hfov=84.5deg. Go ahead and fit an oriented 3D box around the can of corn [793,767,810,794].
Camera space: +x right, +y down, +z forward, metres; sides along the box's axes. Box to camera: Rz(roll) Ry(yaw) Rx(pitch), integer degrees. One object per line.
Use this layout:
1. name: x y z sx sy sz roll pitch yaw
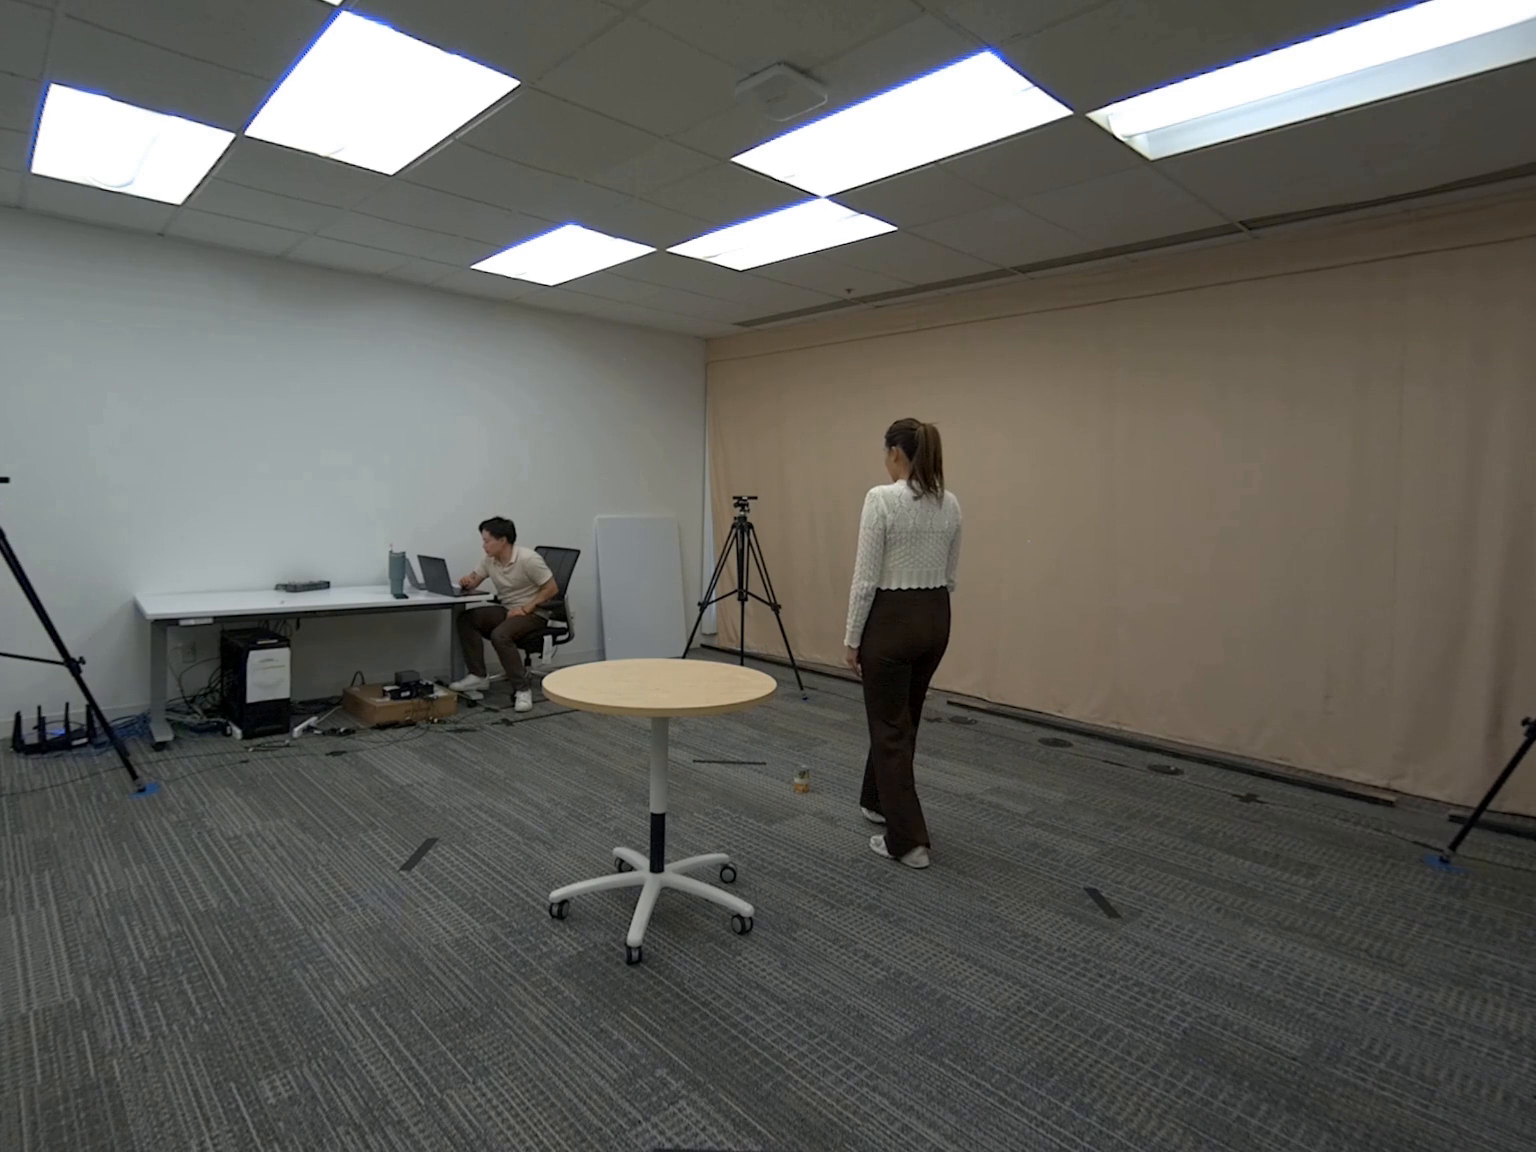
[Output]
1. can of corn: 0.153 0.974 4.043 0.074 0.111 0.074 1 1 -1
